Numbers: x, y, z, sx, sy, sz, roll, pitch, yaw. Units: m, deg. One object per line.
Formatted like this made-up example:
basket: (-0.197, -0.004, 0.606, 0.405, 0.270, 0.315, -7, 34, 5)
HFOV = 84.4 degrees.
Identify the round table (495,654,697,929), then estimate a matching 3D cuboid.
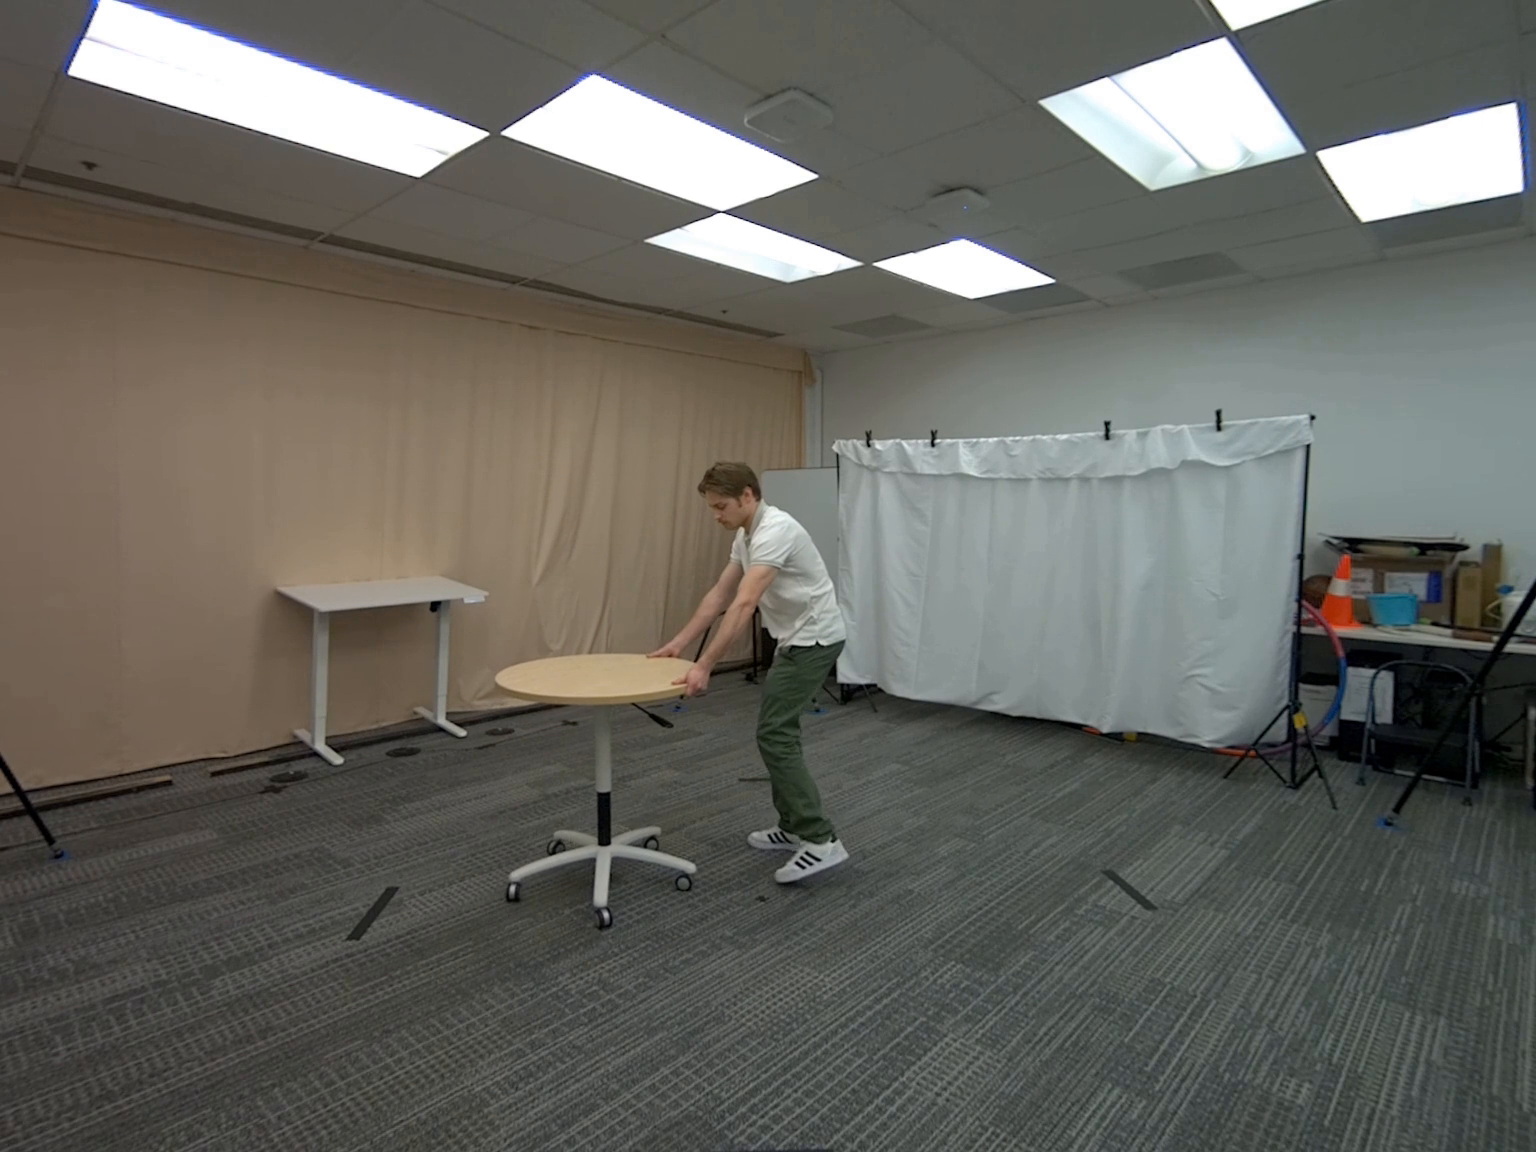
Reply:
round table: (-0.592, 0.744, 3.121, 0.784, 0.785, 0.788, 0, 4, -2)
